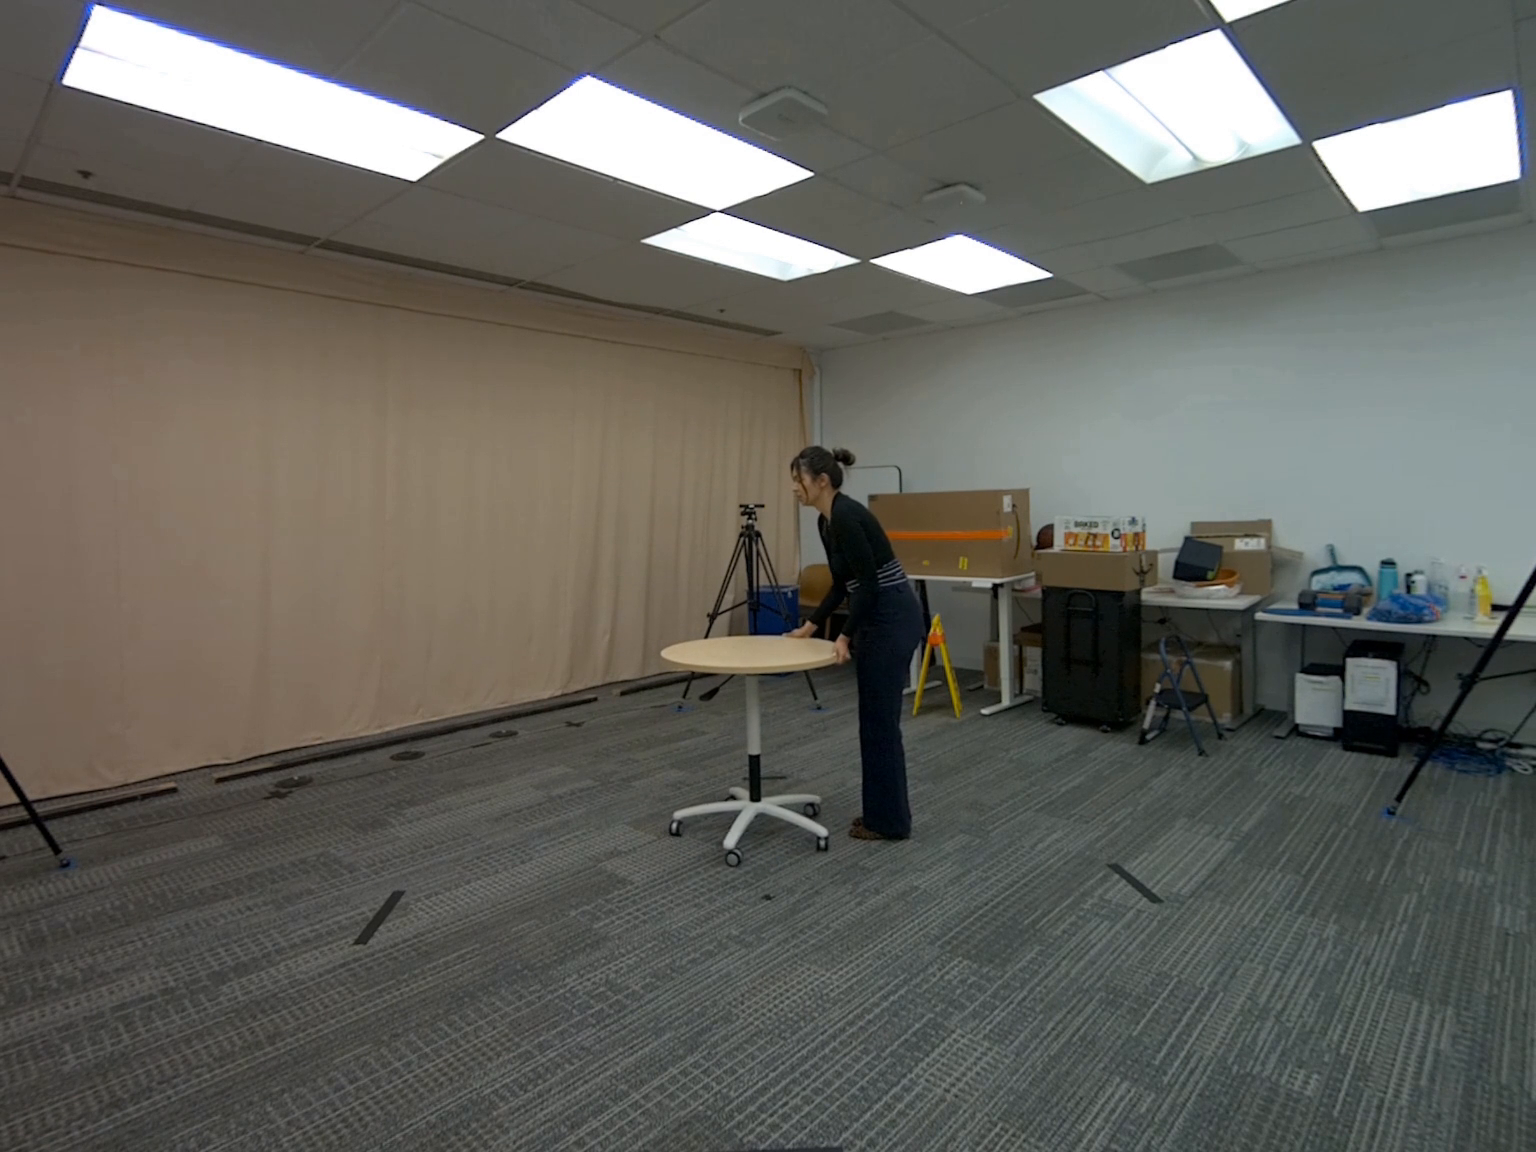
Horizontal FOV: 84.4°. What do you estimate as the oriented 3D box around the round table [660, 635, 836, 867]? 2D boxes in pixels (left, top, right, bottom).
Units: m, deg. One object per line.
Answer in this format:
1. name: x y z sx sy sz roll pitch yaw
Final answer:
1. round table: -0.053 0.705 3.551 0.763 0.792 0.766 -1 4 -2
